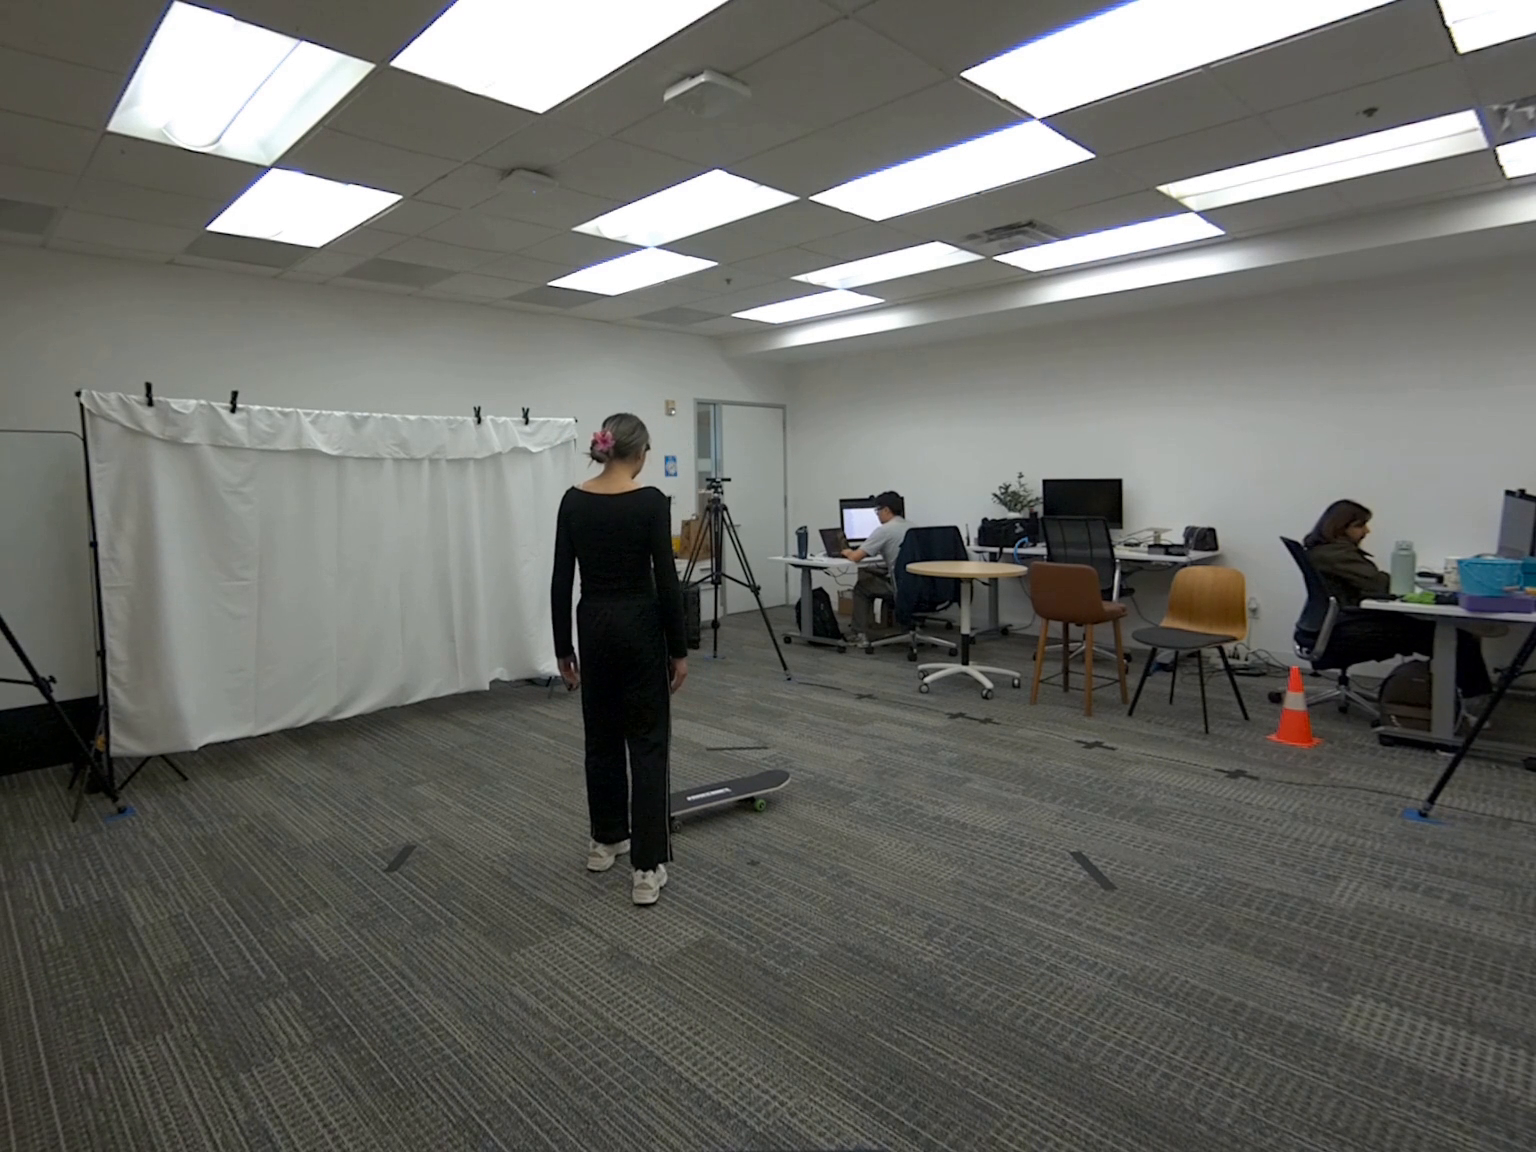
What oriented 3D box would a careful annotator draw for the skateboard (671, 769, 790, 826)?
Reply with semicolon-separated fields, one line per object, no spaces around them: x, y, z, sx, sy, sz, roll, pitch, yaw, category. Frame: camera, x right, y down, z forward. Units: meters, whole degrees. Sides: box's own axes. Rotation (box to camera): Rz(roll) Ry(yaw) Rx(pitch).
-0.247;0.937;3.556;0.767;0.110;0.199;-5;7;-31;skateboard
